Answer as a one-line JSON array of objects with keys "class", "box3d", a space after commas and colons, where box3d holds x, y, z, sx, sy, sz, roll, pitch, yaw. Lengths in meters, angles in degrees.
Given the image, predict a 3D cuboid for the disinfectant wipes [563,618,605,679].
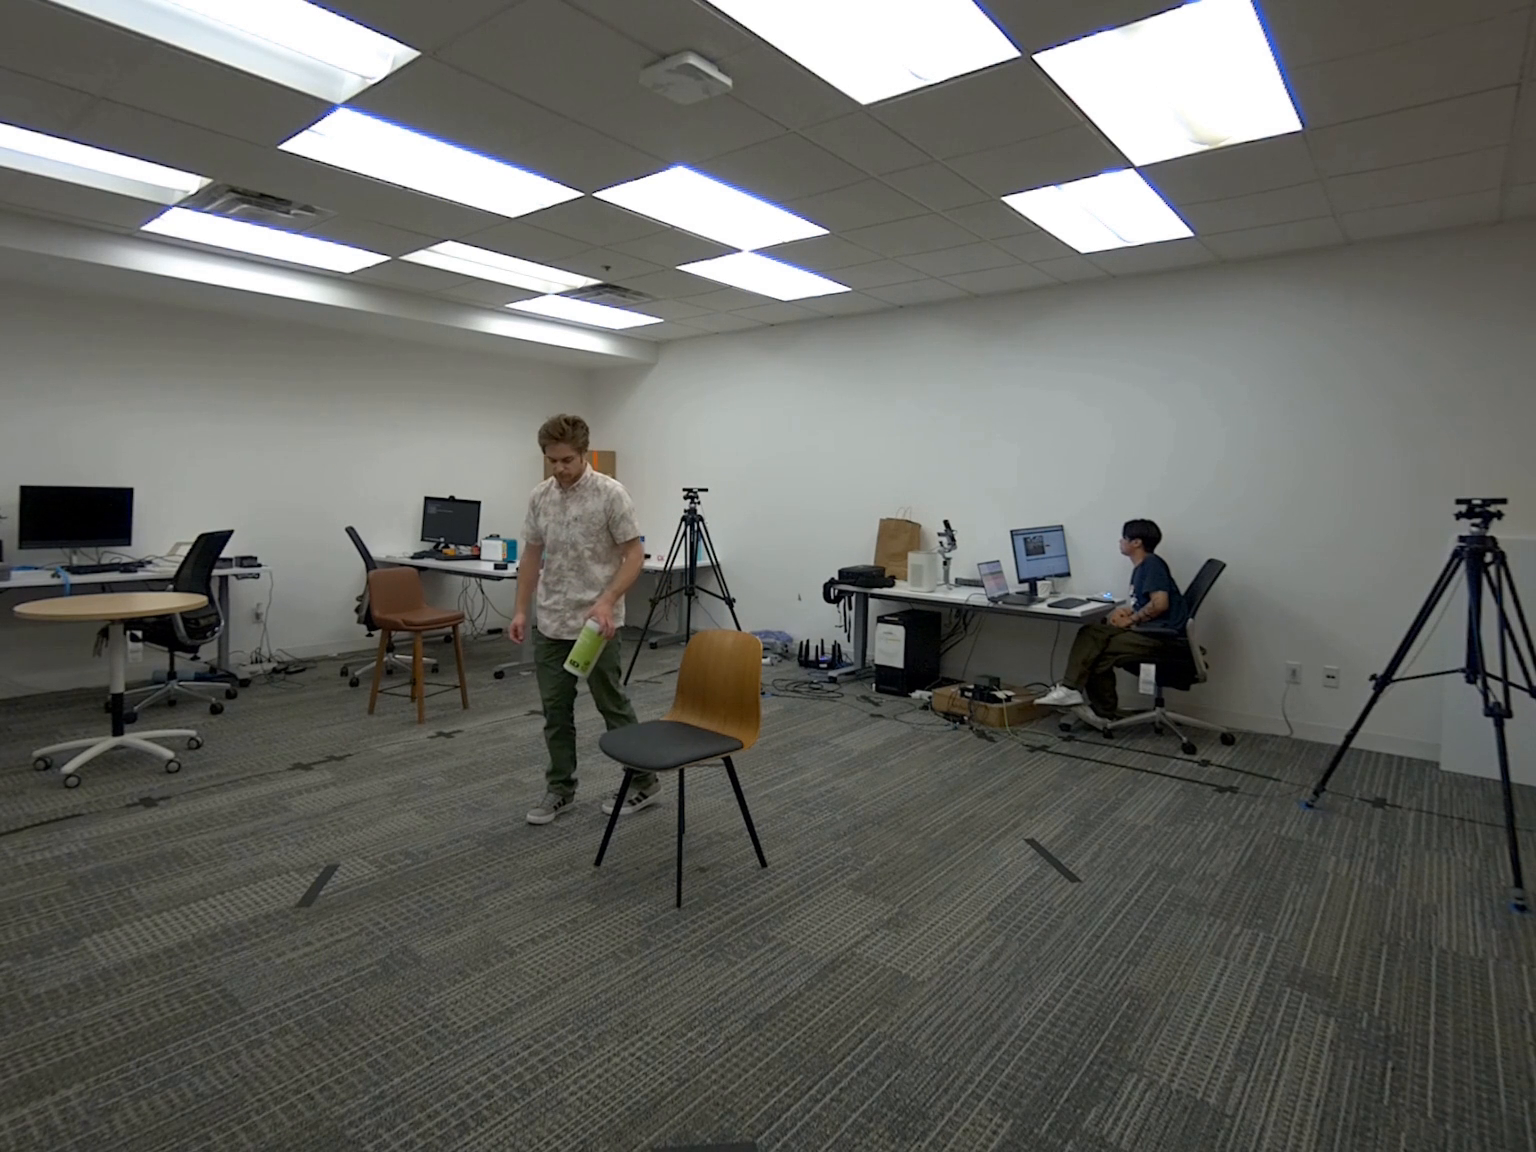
[{"class": "disinfectant wipes", "box3d": [-0.734, 0.284, 3.366, 0.117, 0.217, 0.119, 28, 6, -5]}]
